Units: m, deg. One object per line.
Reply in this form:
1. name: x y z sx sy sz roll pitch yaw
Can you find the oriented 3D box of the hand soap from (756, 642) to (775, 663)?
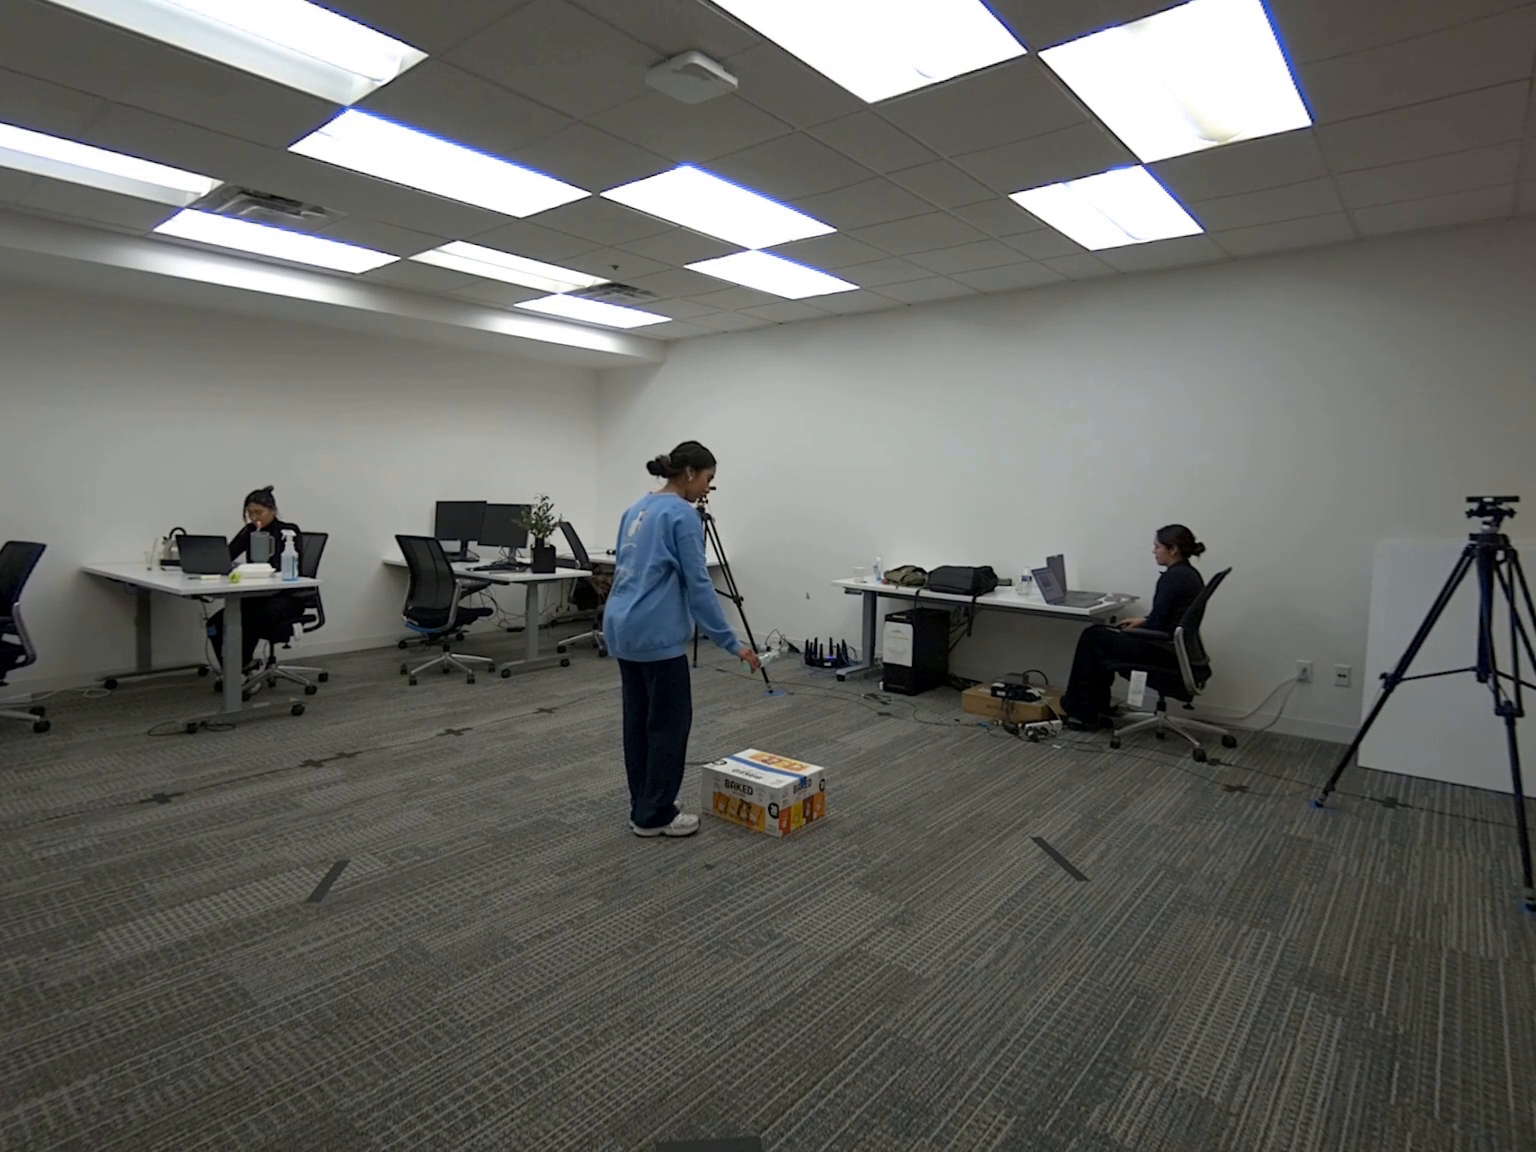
1. hand soap: -0.035 0.337 3.449 0.087 0.043 0.165 10 20 35
